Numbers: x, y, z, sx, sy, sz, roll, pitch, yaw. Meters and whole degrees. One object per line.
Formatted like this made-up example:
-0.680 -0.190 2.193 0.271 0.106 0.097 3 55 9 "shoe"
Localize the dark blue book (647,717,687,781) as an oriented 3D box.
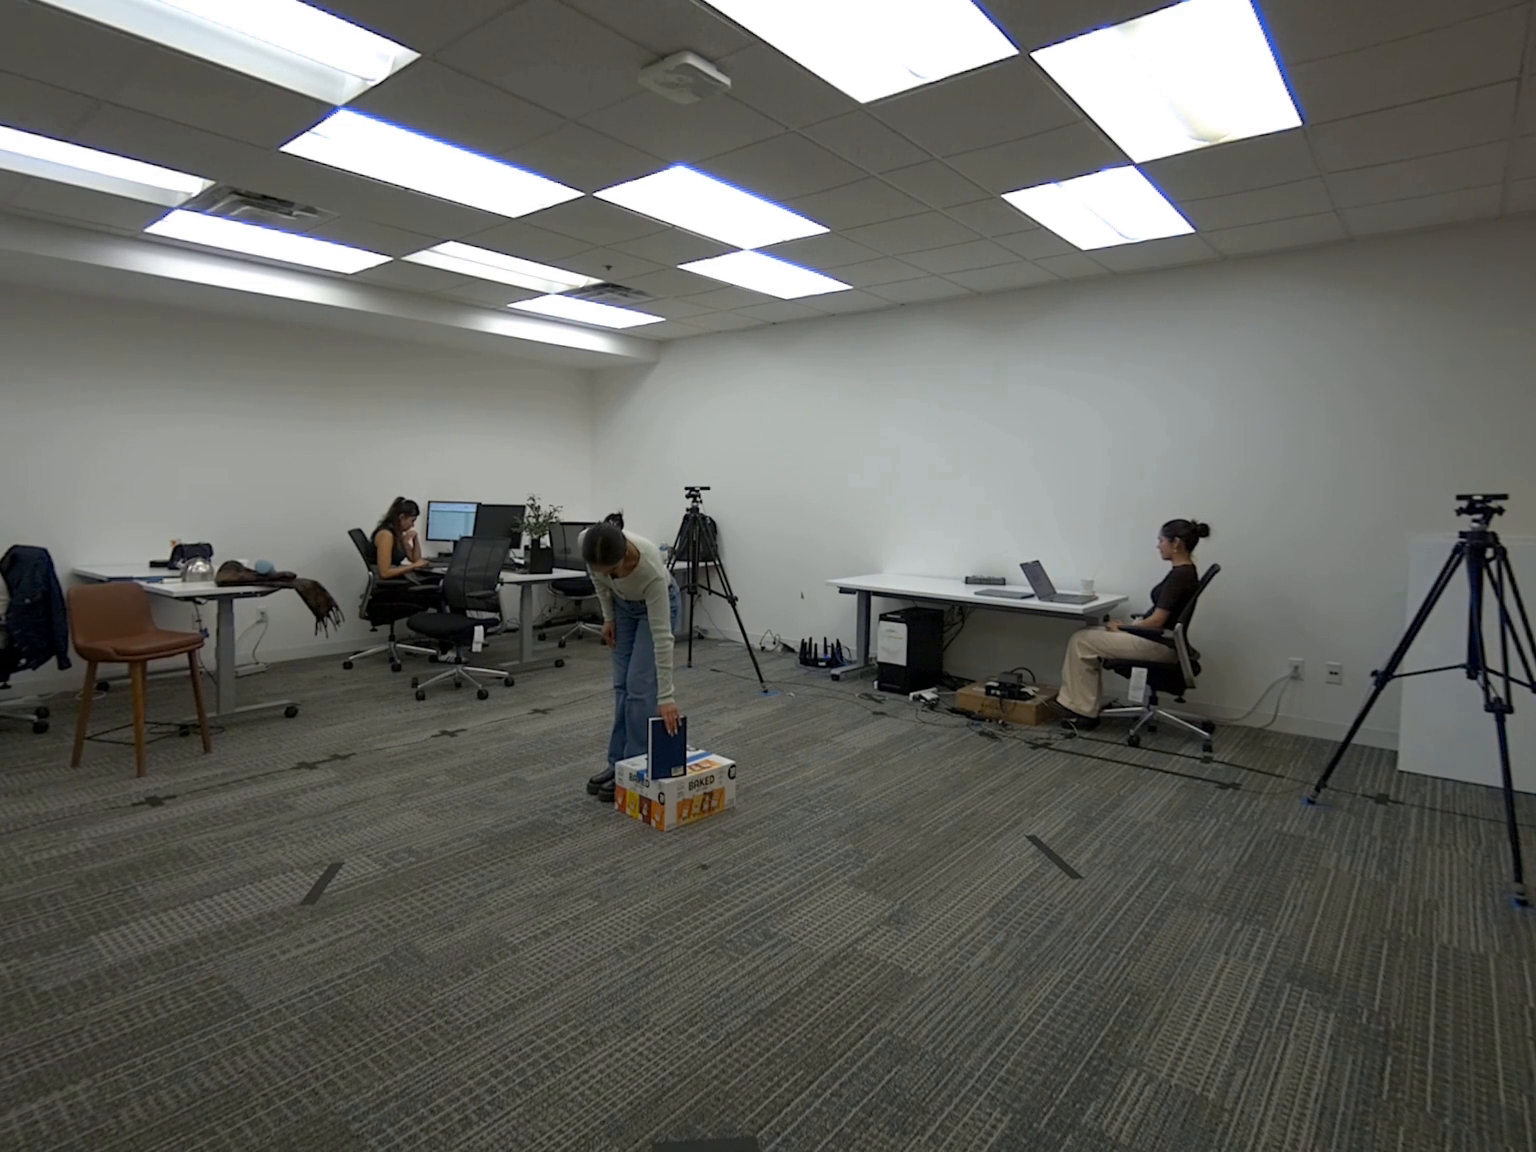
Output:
-0.424 0.703 3.507 0.159 0.245 0.046 0 -2 -27 "dark blue book"
